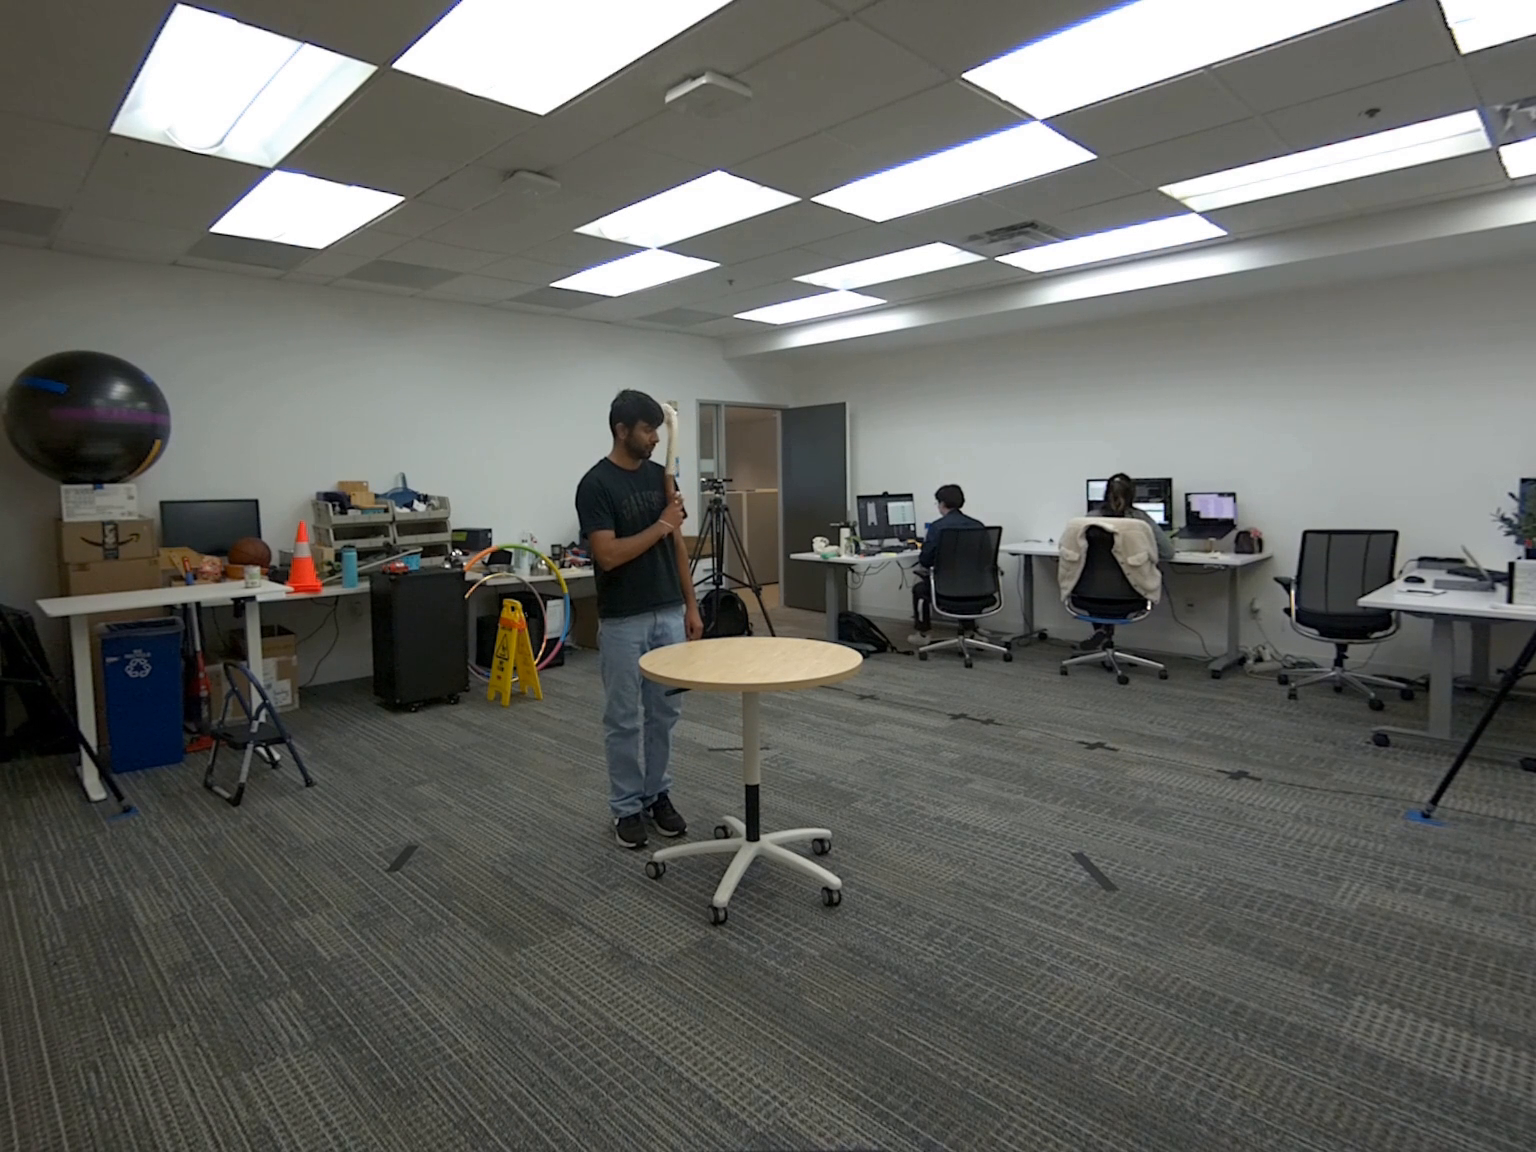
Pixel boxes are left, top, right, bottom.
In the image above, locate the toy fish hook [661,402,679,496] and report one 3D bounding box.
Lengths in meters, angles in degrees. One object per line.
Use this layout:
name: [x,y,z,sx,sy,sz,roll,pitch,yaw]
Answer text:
toy fish hook: [-0.421,-0.438,3.437,0.047,0.512,0.229,5,-14,-37]
